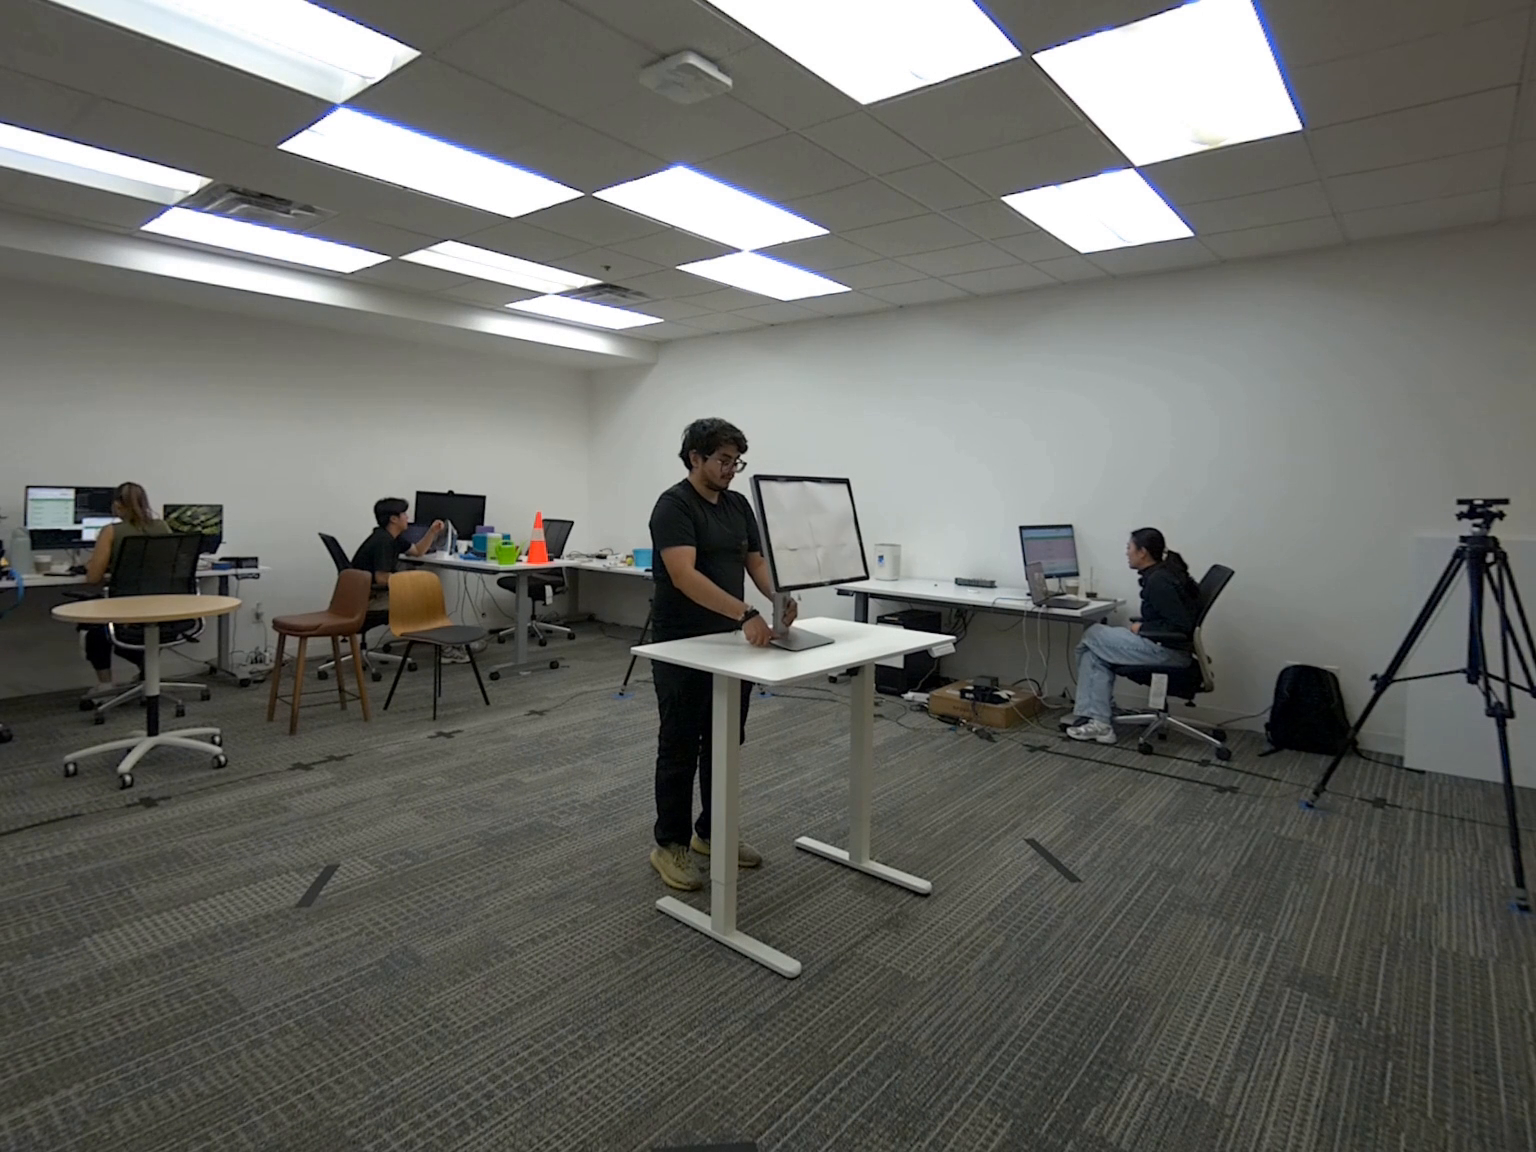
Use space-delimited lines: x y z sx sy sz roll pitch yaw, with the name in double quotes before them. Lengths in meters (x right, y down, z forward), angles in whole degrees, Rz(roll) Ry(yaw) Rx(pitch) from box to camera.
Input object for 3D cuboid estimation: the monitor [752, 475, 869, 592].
"monitor" 0.083 -0.056 2.806 0.216 0.554 0.549 -3 1 36
